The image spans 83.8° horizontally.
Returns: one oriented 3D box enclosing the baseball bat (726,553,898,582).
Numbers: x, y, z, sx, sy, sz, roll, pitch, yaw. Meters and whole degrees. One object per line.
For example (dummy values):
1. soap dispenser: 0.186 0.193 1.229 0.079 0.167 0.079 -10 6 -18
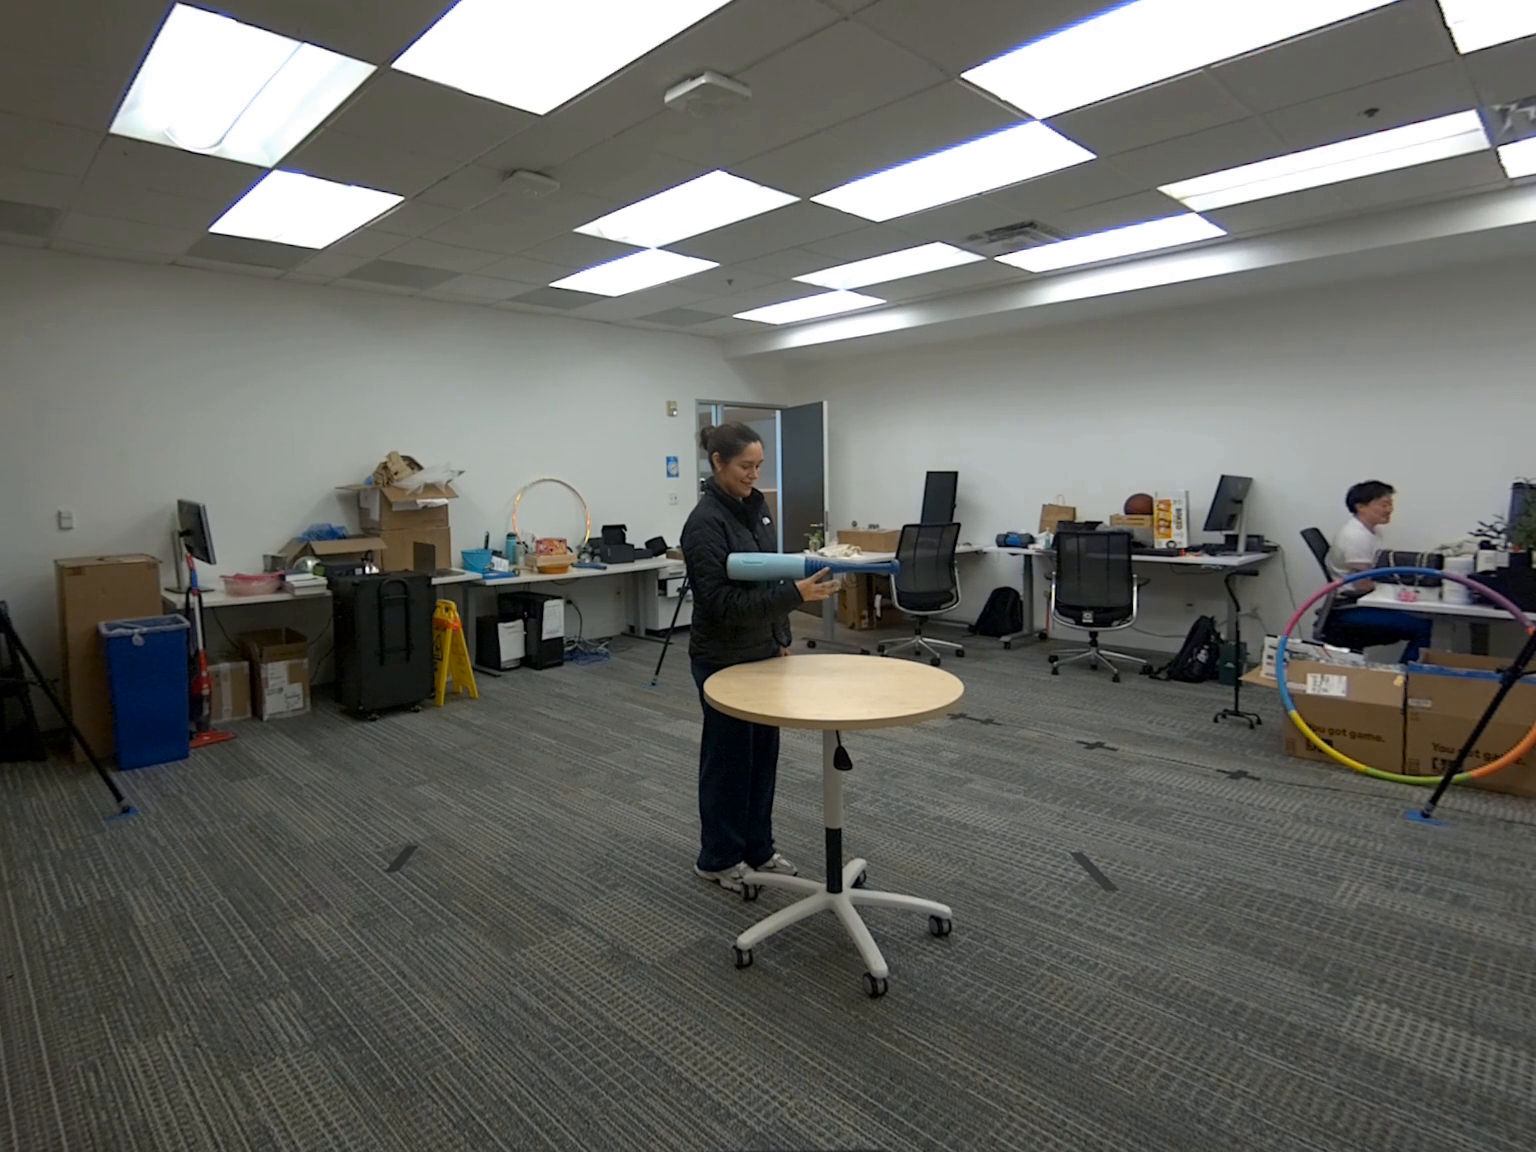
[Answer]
1. baseball bat: 0.137 -0.024 2.709 0.547 0.089 0.089 1 5 8
